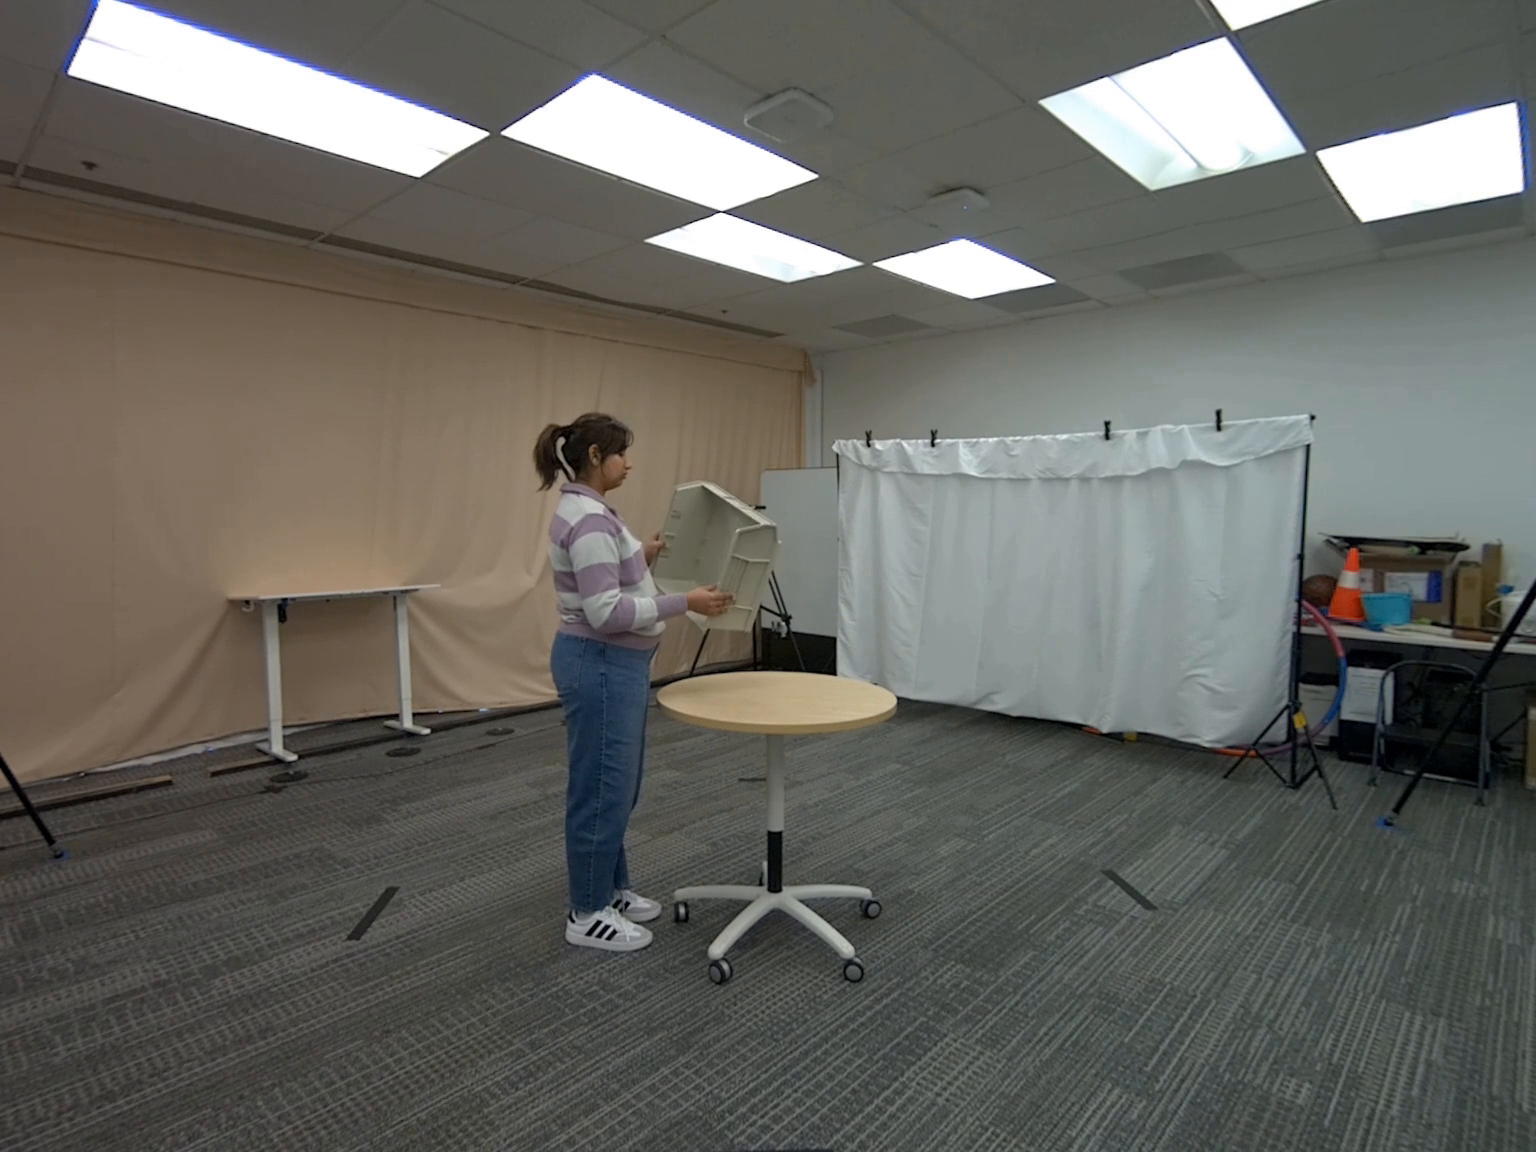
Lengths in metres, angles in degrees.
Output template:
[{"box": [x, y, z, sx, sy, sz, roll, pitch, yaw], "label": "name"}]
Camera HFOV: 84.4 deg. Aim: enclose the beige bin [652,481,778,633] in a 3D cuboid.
[{"box": [-0.173, -0.070, 2.749, 0.183, 0.376, 0.438, 7, 19, -37], "label": "beige bin"}]
